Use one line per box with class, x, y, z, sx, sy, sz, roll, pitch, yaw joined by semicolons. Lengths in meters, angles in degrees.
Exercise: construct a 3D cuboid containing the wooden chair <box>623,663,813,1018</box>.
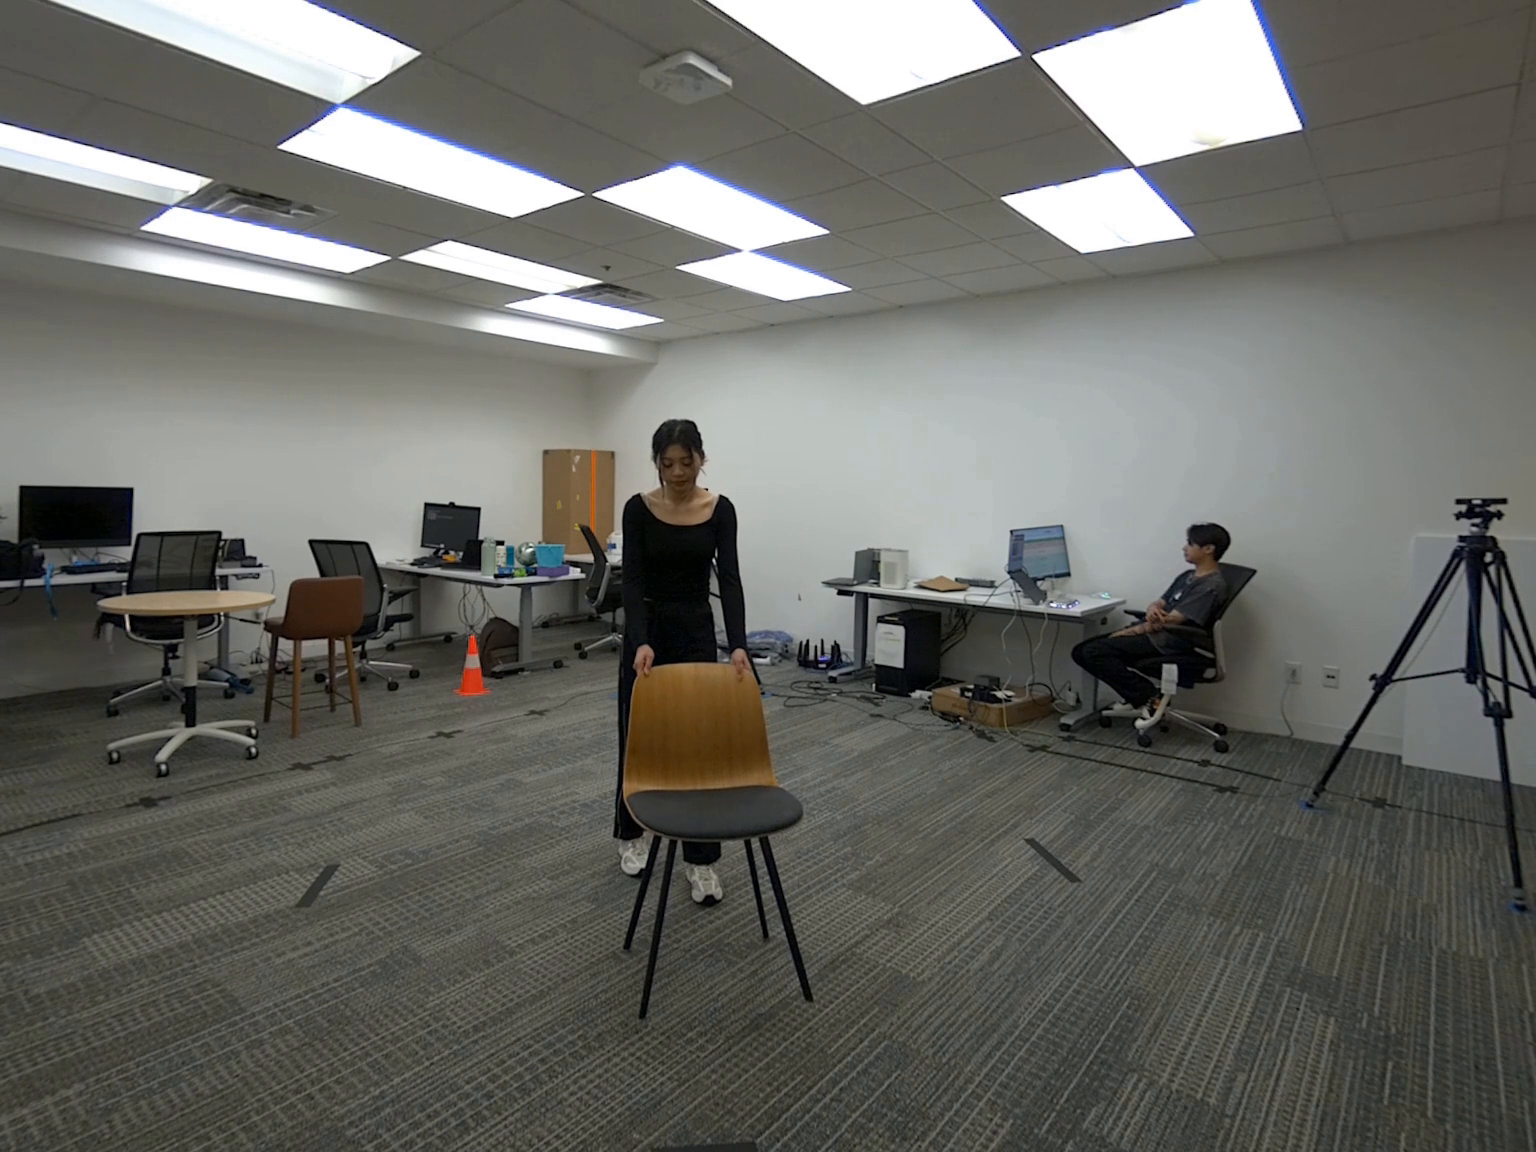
wooden chair;-0.164;0.685;2.405;0.472;0.885;0.526;1;-9;-13
